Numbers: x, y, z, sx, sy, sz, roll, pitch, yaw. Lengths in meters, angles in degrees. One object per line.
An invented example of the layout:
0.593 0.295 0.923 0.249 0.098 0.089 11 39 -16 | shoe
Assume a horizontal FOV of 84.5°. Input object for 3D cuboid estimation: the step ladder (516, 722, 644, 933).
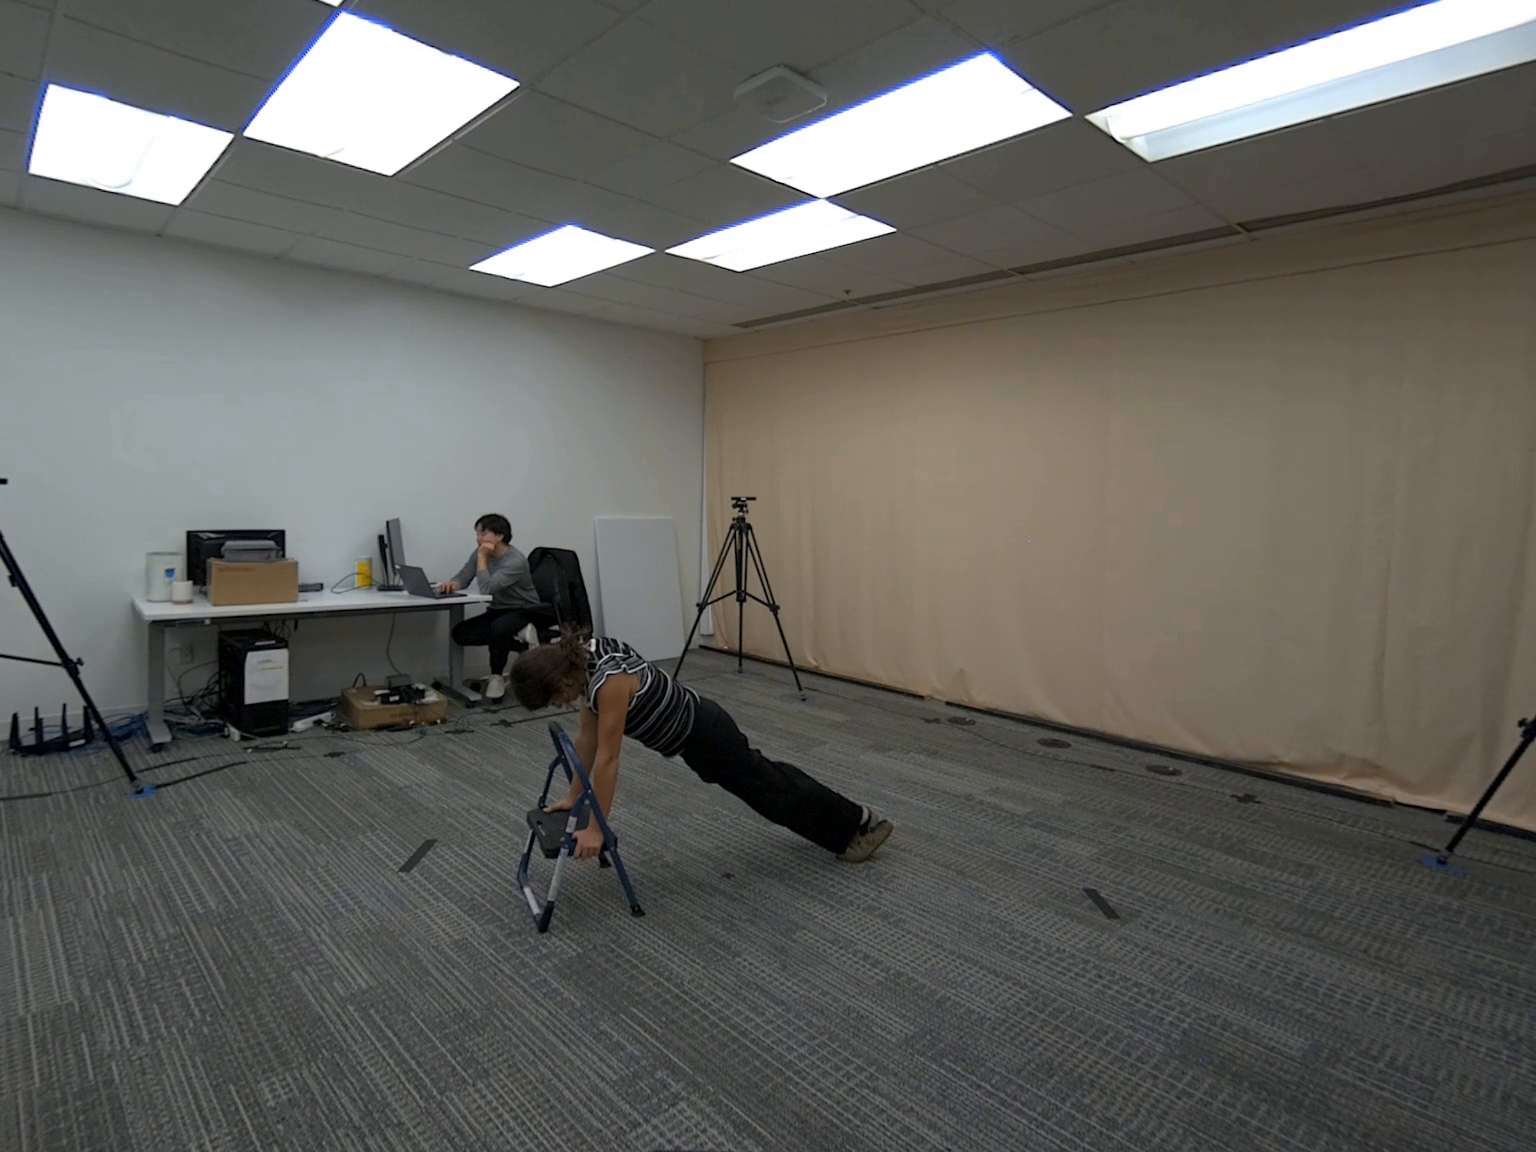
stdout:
-0.663 0.815 2.900 0.343 0.604 0.440 -1 4 -27 | step ladder
